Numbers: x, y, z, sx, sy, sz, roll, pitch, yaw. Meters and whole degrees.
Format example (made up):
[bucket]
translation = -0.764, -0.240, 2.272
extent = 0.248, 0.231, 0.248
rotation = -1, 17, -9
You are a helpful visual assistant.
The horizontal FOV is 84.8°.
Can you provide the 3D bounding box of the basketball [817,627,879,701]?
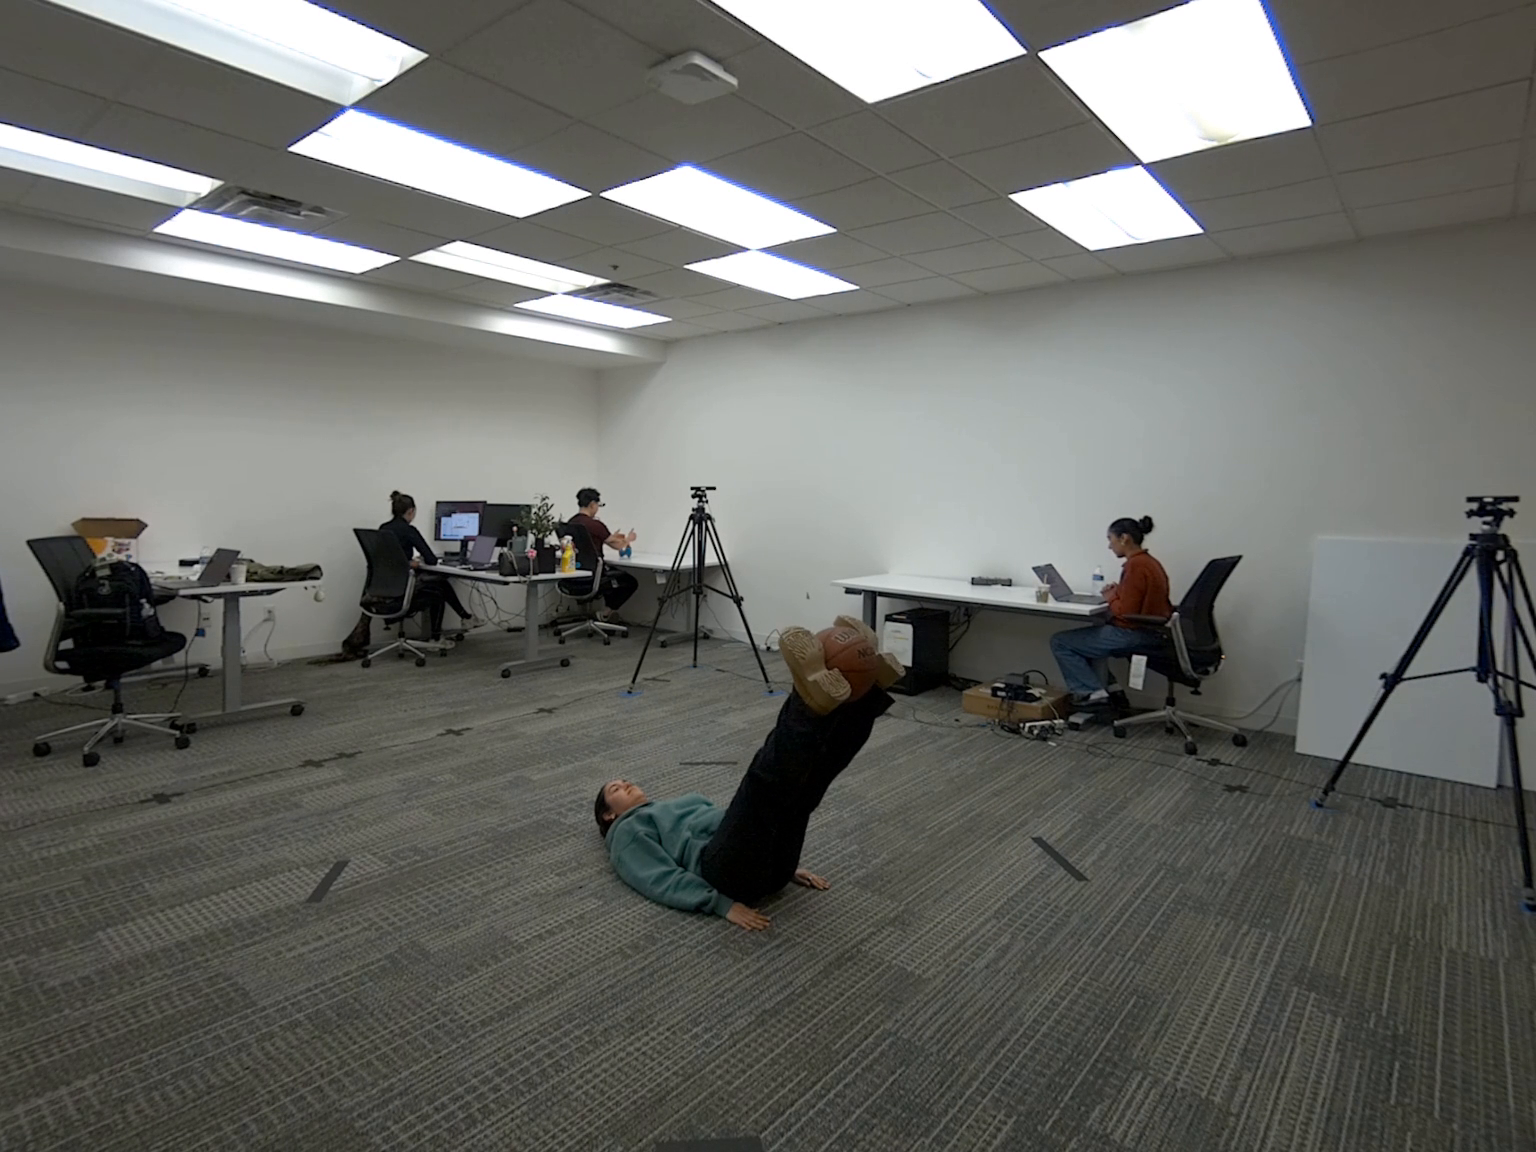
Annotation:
[basketball]
translation = 0.220, 0.278, 2.642
extent = 0.236, 0.235, 0.237
rotation = 0, 4, -2
